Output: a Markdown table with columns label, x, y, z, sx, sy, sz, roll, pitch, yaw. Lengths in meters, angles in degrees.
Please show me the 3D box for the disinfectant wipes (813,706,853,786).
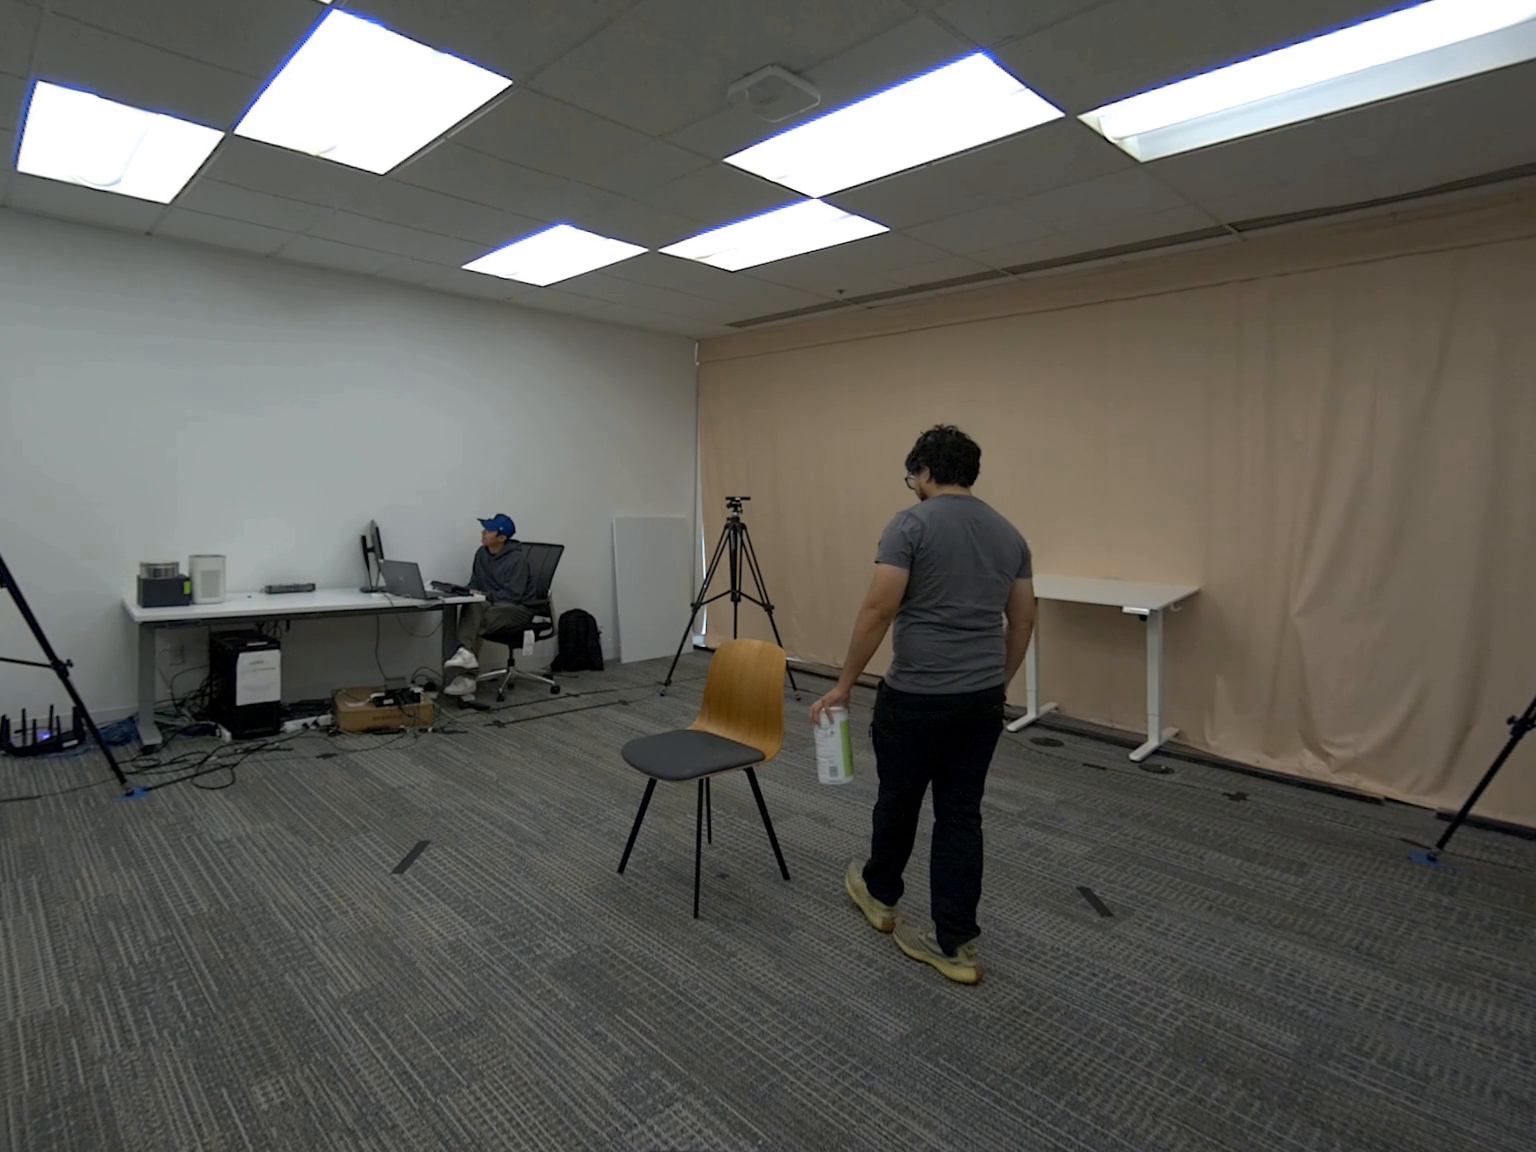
| label | x | y | z | sx | sy | sz | roll | pitch | yaw |
| --- | --- | --- | --- | --- | --- | --- | --- | --- | --- |
| disinfectant wipes | 0.198 | 0.515 | 2.549 | 0.118 | 0.218 | 0.118 | -5 | -1 | -1 |
